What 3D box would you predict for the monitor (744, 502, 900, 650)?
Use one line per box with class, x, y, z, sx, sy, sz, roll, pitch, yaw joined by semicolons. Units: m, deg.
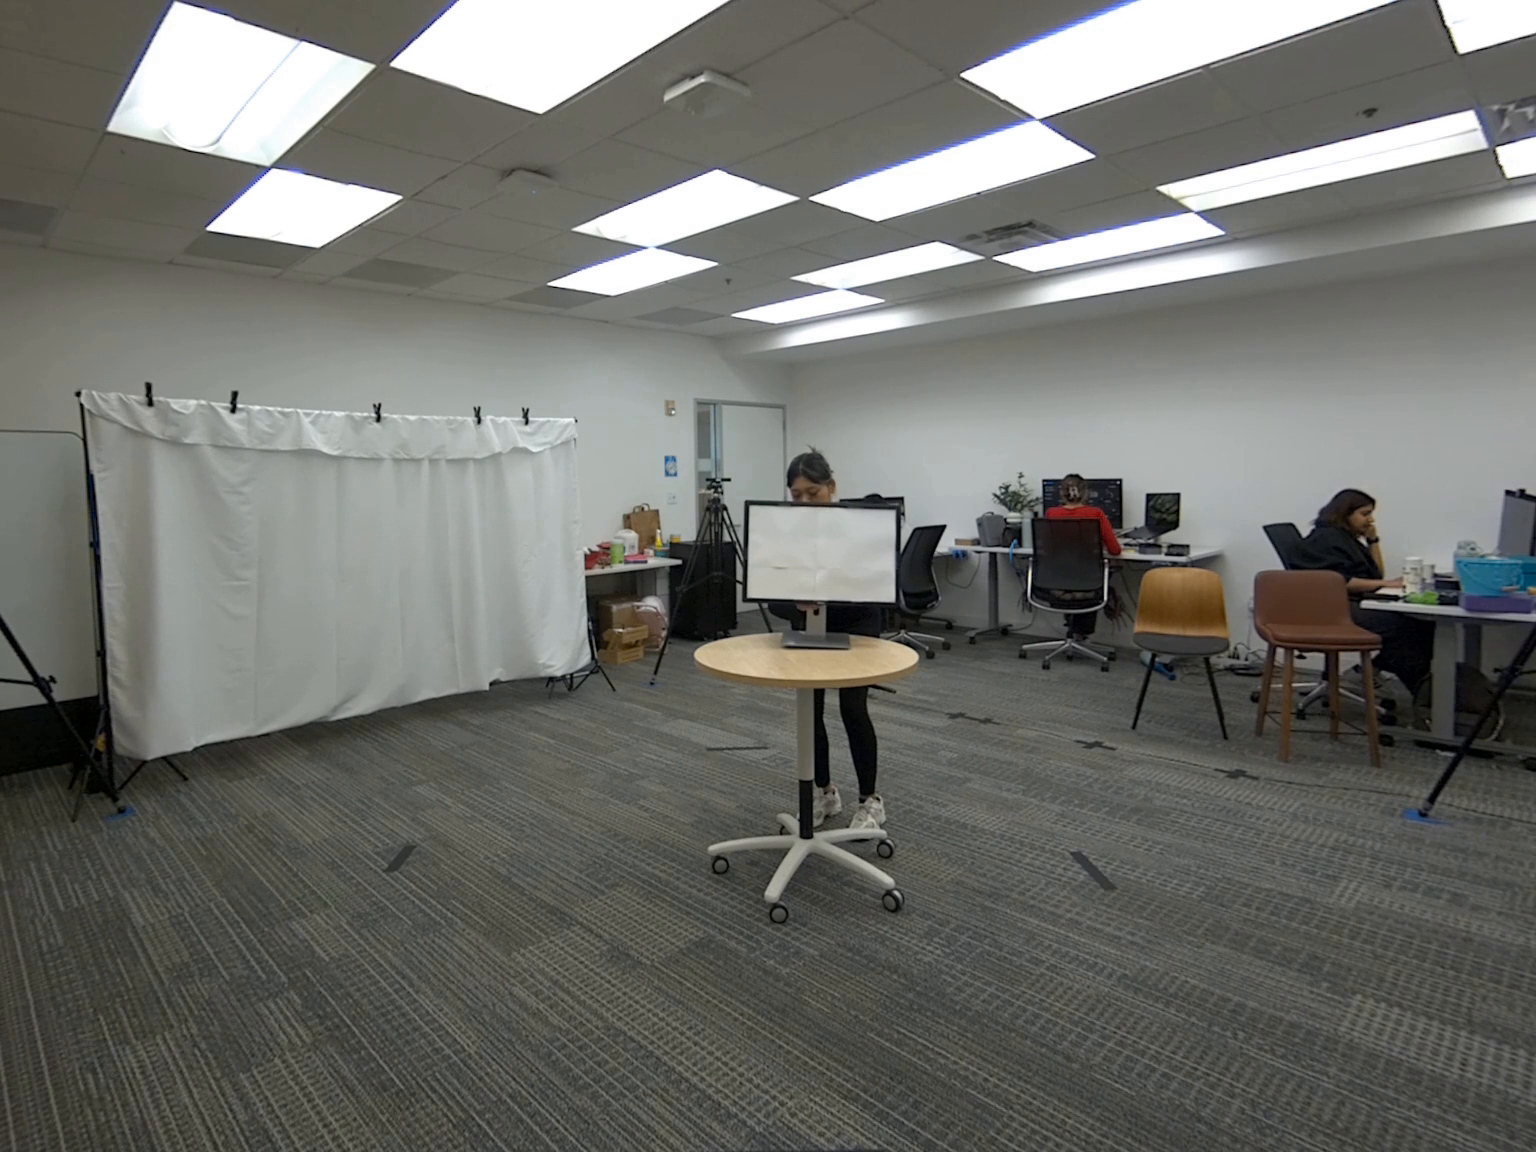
monitor;0.175;-0.004;3.080;0.537;0.519;0.189;2;7;-3
